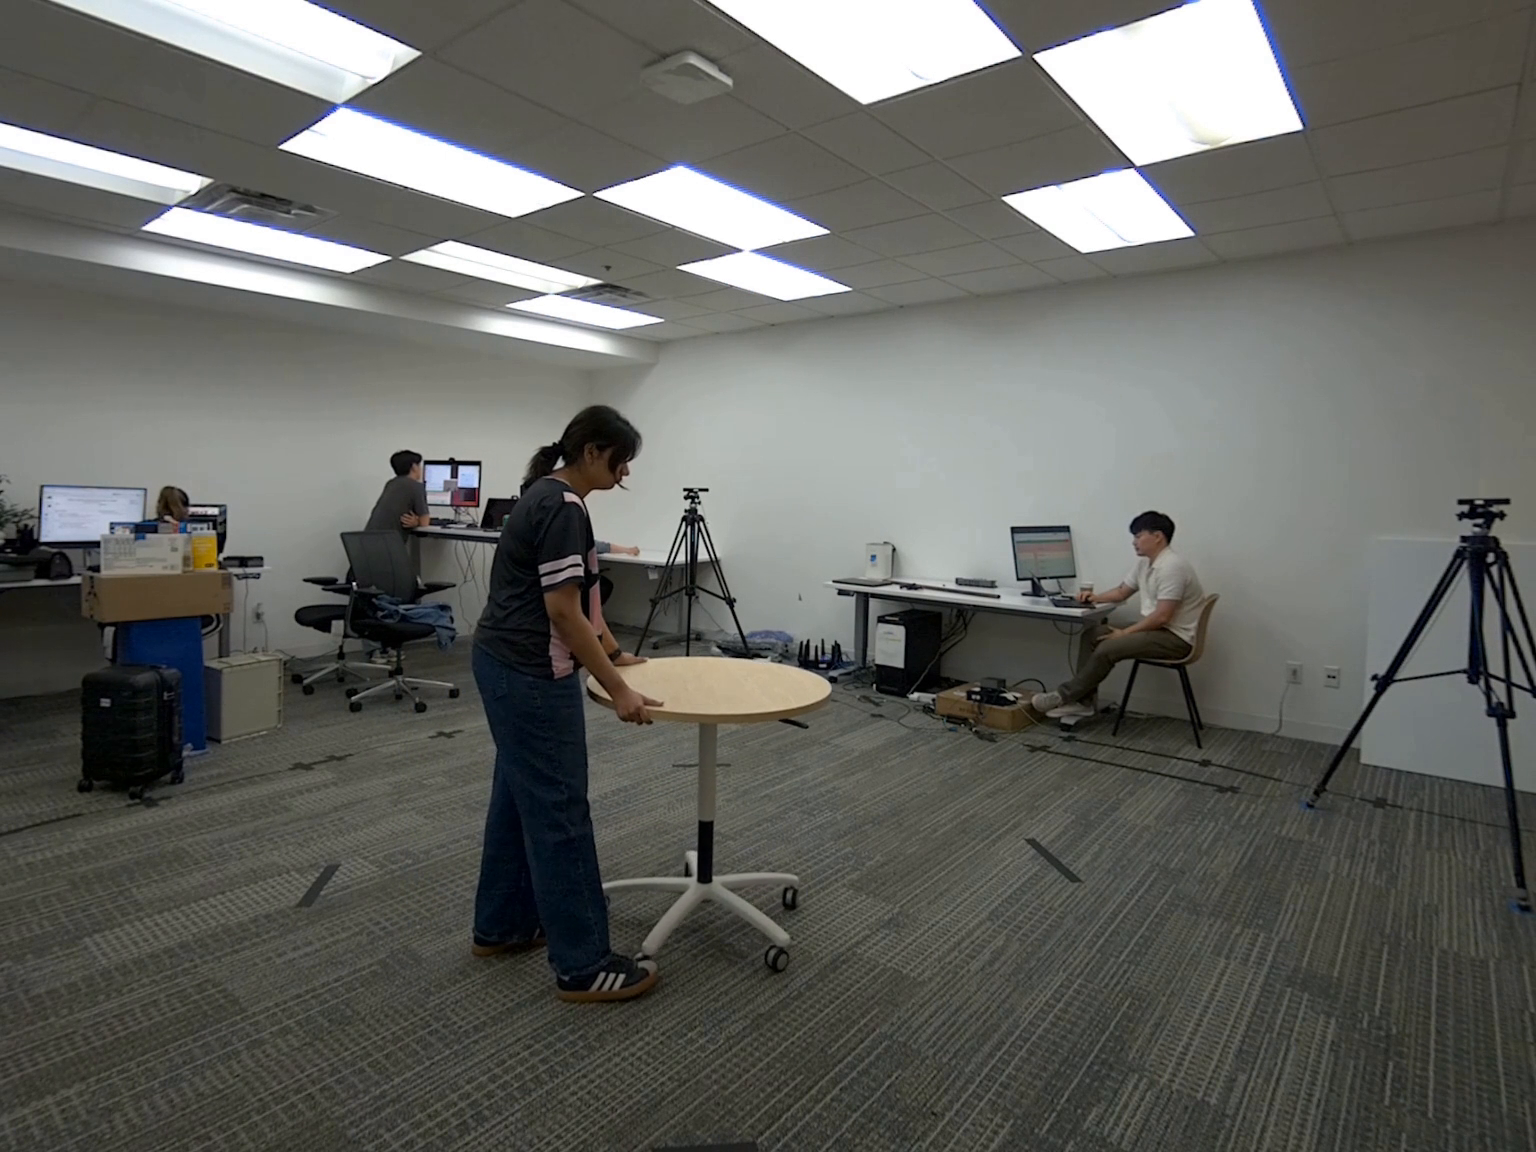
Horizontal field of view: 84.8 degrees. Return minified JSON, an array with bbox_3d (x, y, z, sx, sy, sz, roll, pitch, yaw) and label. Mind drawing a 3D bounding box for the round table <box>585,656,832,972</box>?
[{"bbox_3d":[-0.209,0.717,2.706,0.784,0.784,0.789,1,4,-2],"label":"round table"}]
